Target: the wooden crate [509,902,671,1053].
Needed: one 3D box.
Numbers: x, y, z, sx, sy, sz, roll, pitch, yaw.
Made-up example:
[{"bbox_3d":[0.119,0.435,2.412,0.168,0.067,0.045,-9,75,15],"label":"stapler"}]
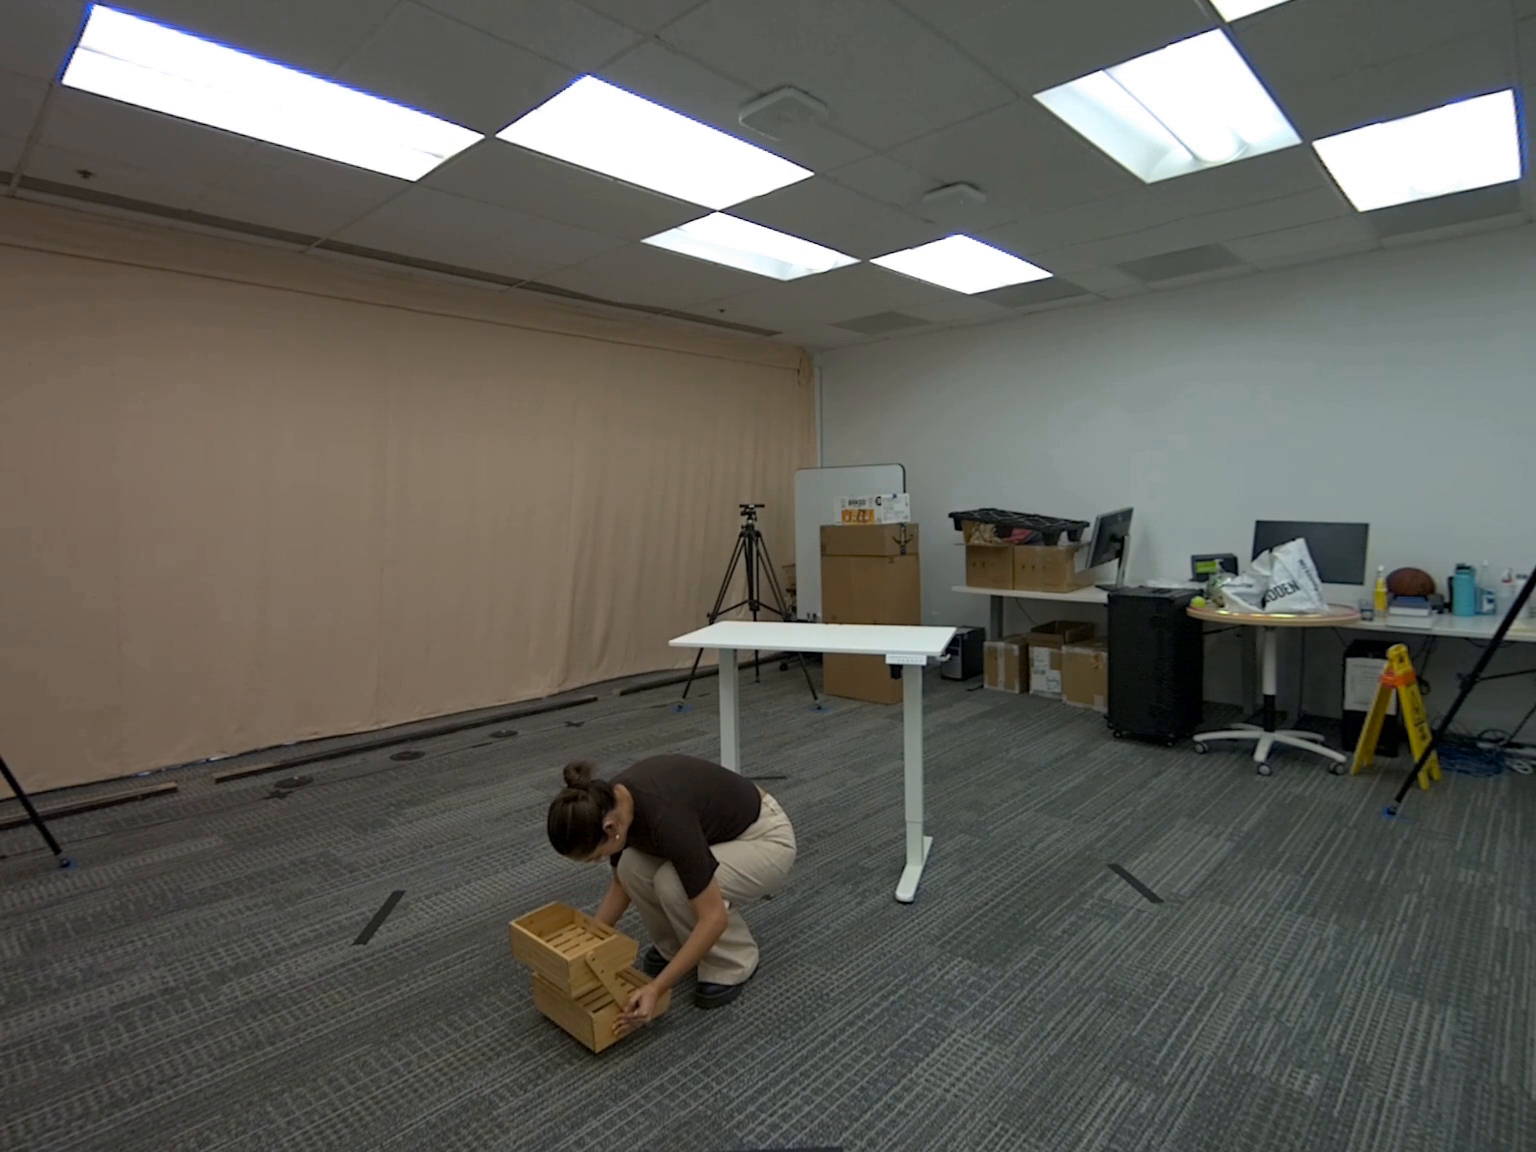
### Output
[{"bbox_3d":[-0.475,1.043,2.251,0.293,0.272,0.335,-9,6,-43],"label":"wooden crate"}]
